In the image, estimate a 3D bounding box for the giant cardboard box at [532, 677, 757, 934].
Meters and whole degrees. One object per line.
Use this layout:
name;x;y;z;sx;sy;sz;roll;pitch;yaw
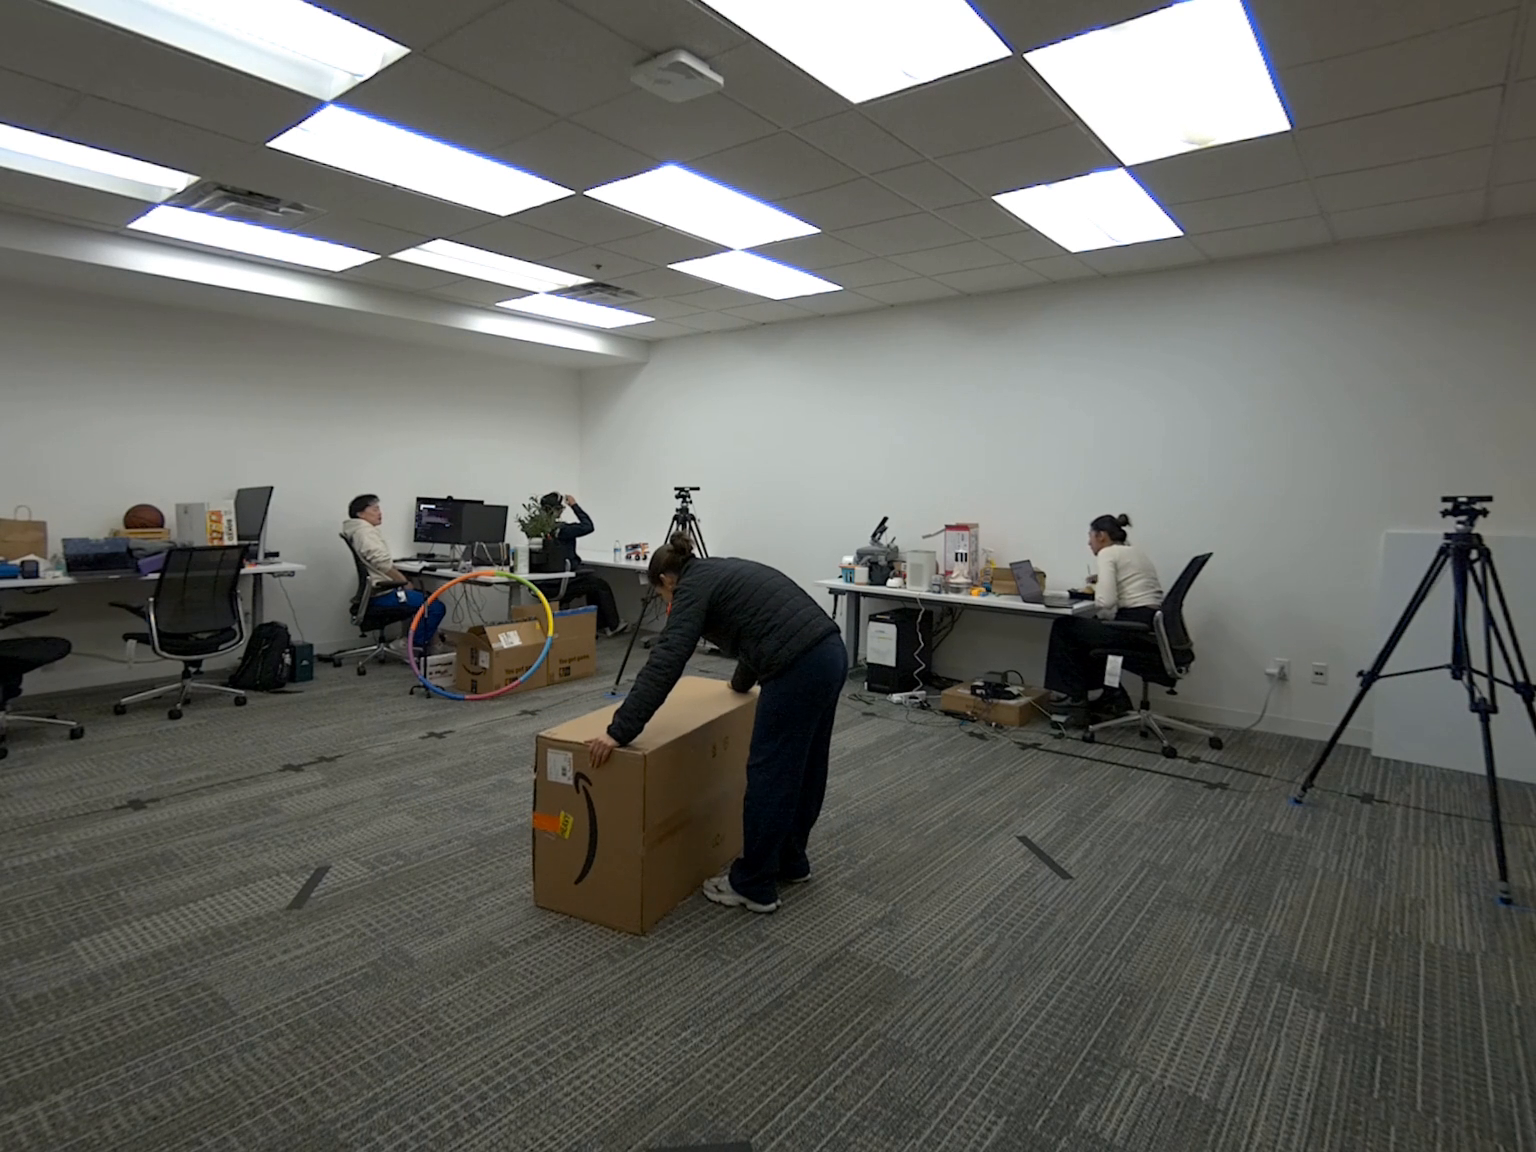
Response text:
giant cardboard box;-0.369;0.772;3.167;0.459;0.582;1.004;4;6;25
